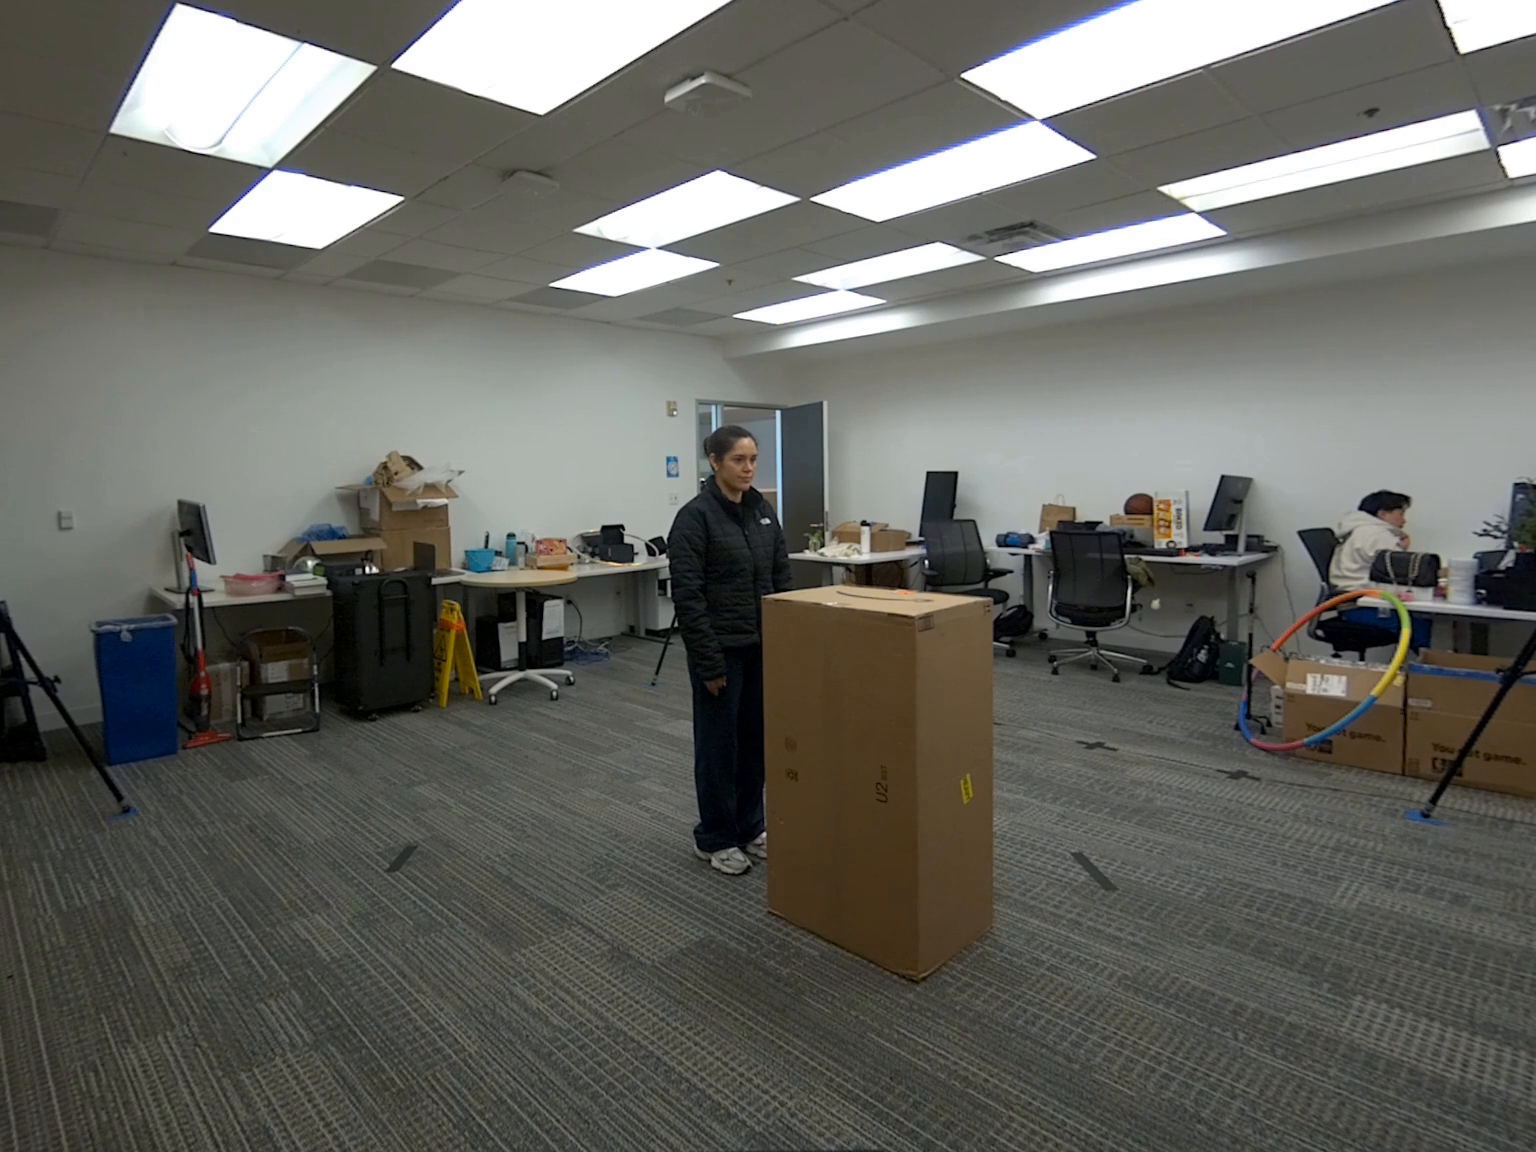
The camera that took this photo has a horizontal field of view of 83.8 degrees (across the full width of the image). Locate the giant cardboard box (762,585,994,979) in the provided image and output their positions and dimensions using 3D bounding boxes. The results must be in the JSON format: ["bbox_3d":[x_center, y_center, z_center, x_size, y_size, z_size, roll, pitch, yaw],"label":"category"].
[{"bbox_3d":[0.346,0.579,2.679,0.595,1.022,0.415,3,5,45],"label":"giant cardboard box"}]
